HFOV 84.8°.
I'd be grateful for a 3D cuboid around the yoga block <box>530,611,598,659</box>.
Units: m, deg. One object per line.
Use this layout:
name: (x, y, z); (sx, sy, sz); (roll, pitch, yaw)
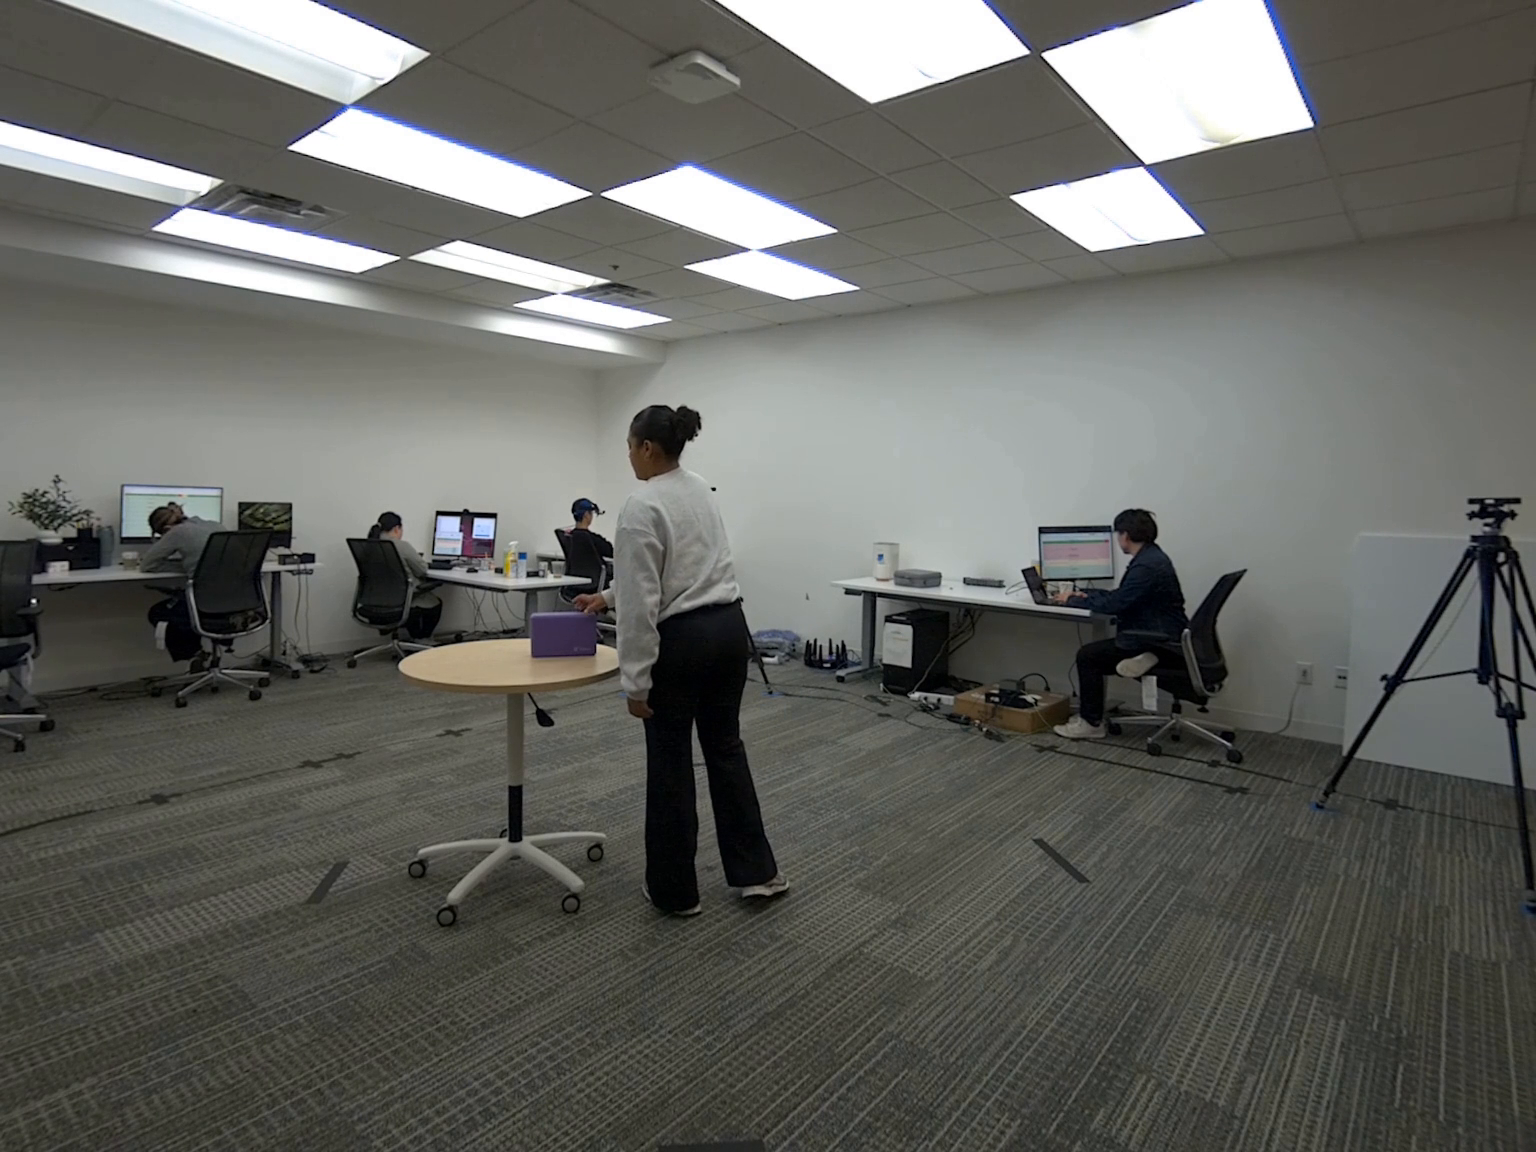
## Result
yoga block: (-0.742, 0.206, 3.038); (0.227, 0.149, 0.077); (1, 3, -10)
